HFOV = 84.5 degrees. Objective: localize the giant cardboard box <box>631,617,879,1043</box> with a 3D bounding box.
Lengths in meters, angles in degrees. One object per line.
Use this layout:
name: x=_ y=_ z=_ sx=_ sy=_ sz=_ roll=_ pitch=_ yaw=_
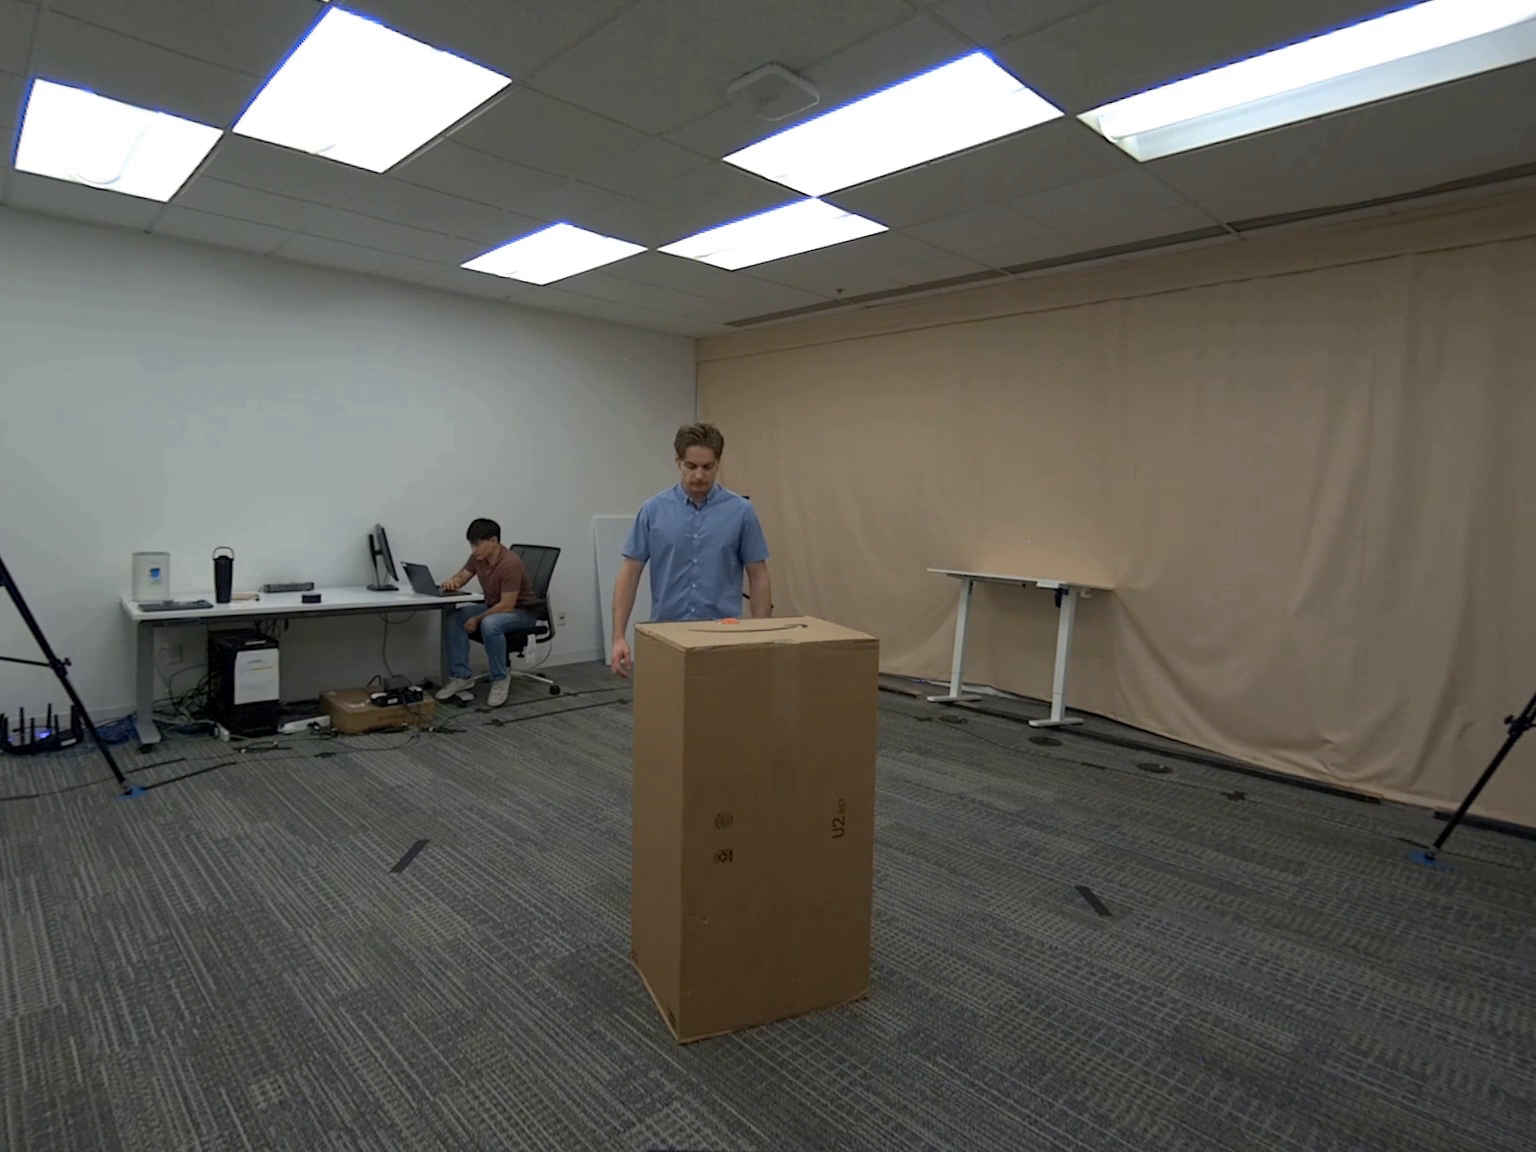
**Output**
giant cardboard box: x=-0.053 y=0.663 z=2.406 sx=0.567 sy=1.023 sz=0.435 roll=-1 pitch=4 yaw=-25
